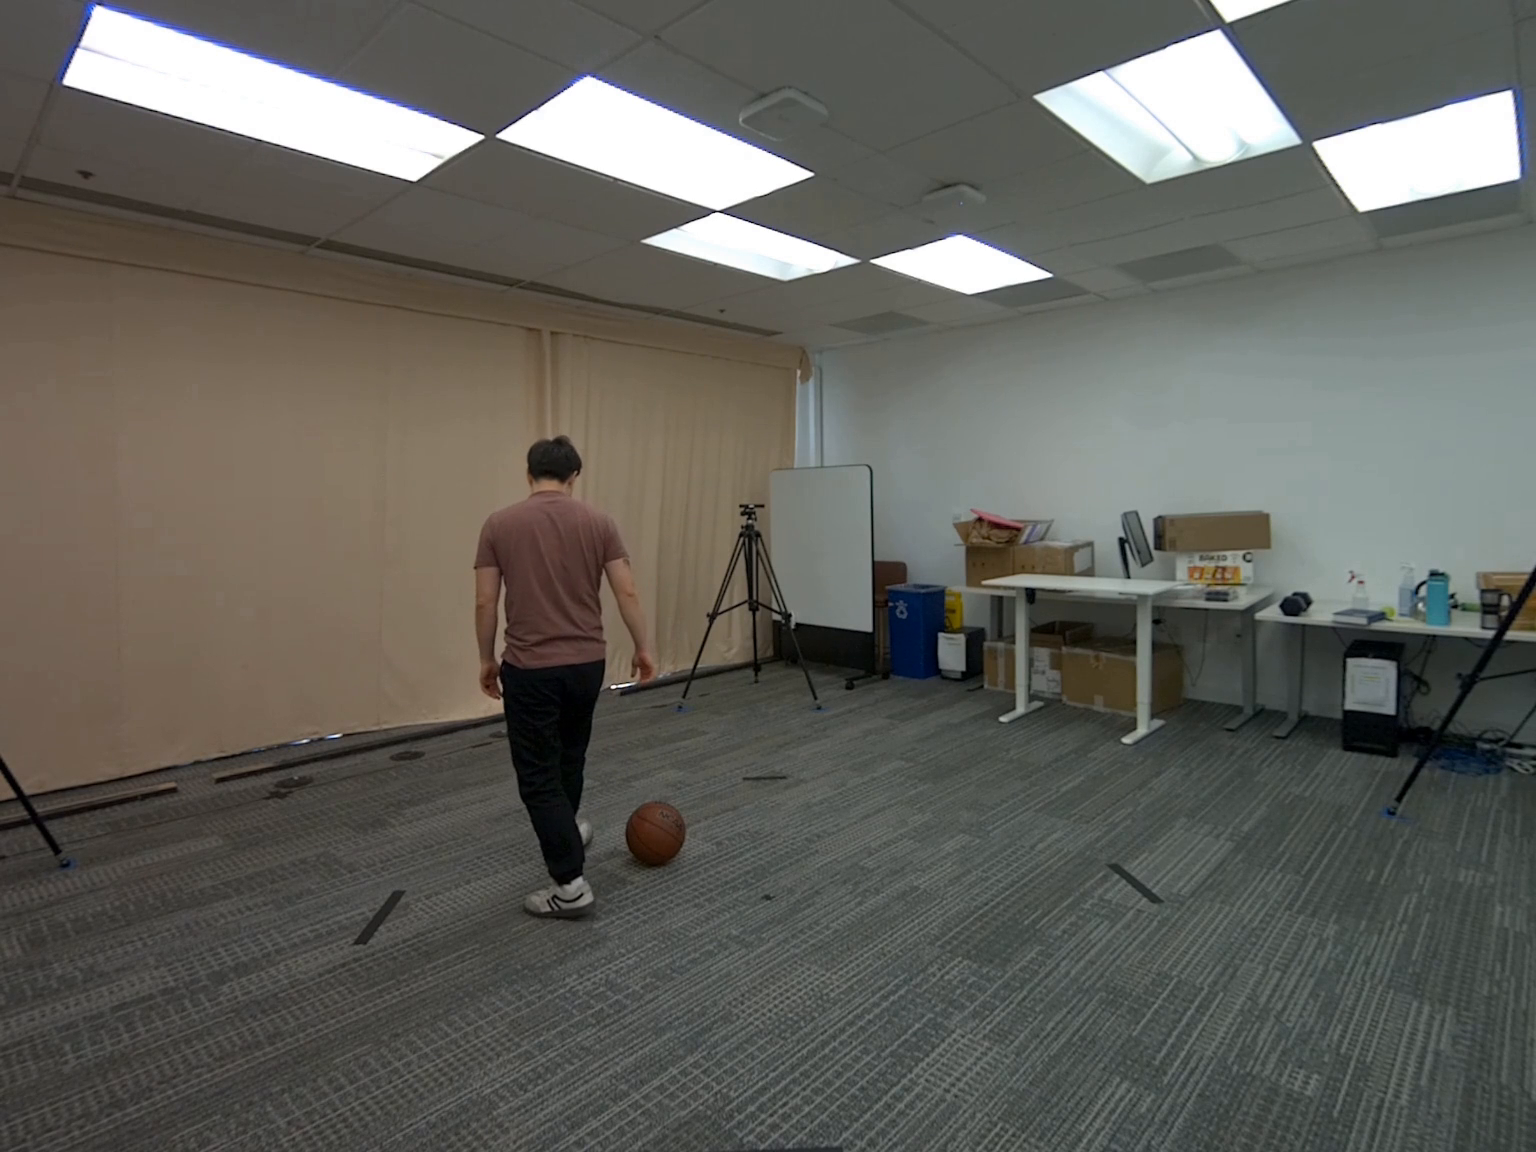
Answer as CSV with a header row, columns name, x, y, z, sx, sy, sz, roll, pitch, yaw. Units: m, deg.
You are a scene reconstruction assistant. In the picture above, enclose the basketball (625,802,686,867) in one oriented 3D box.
name,x,y,z,sx,sy,sz,roll,pitch,yaw
basketball,-0.441,1.008,3.296,0.236,0.235,0.237,-1,4,-2
